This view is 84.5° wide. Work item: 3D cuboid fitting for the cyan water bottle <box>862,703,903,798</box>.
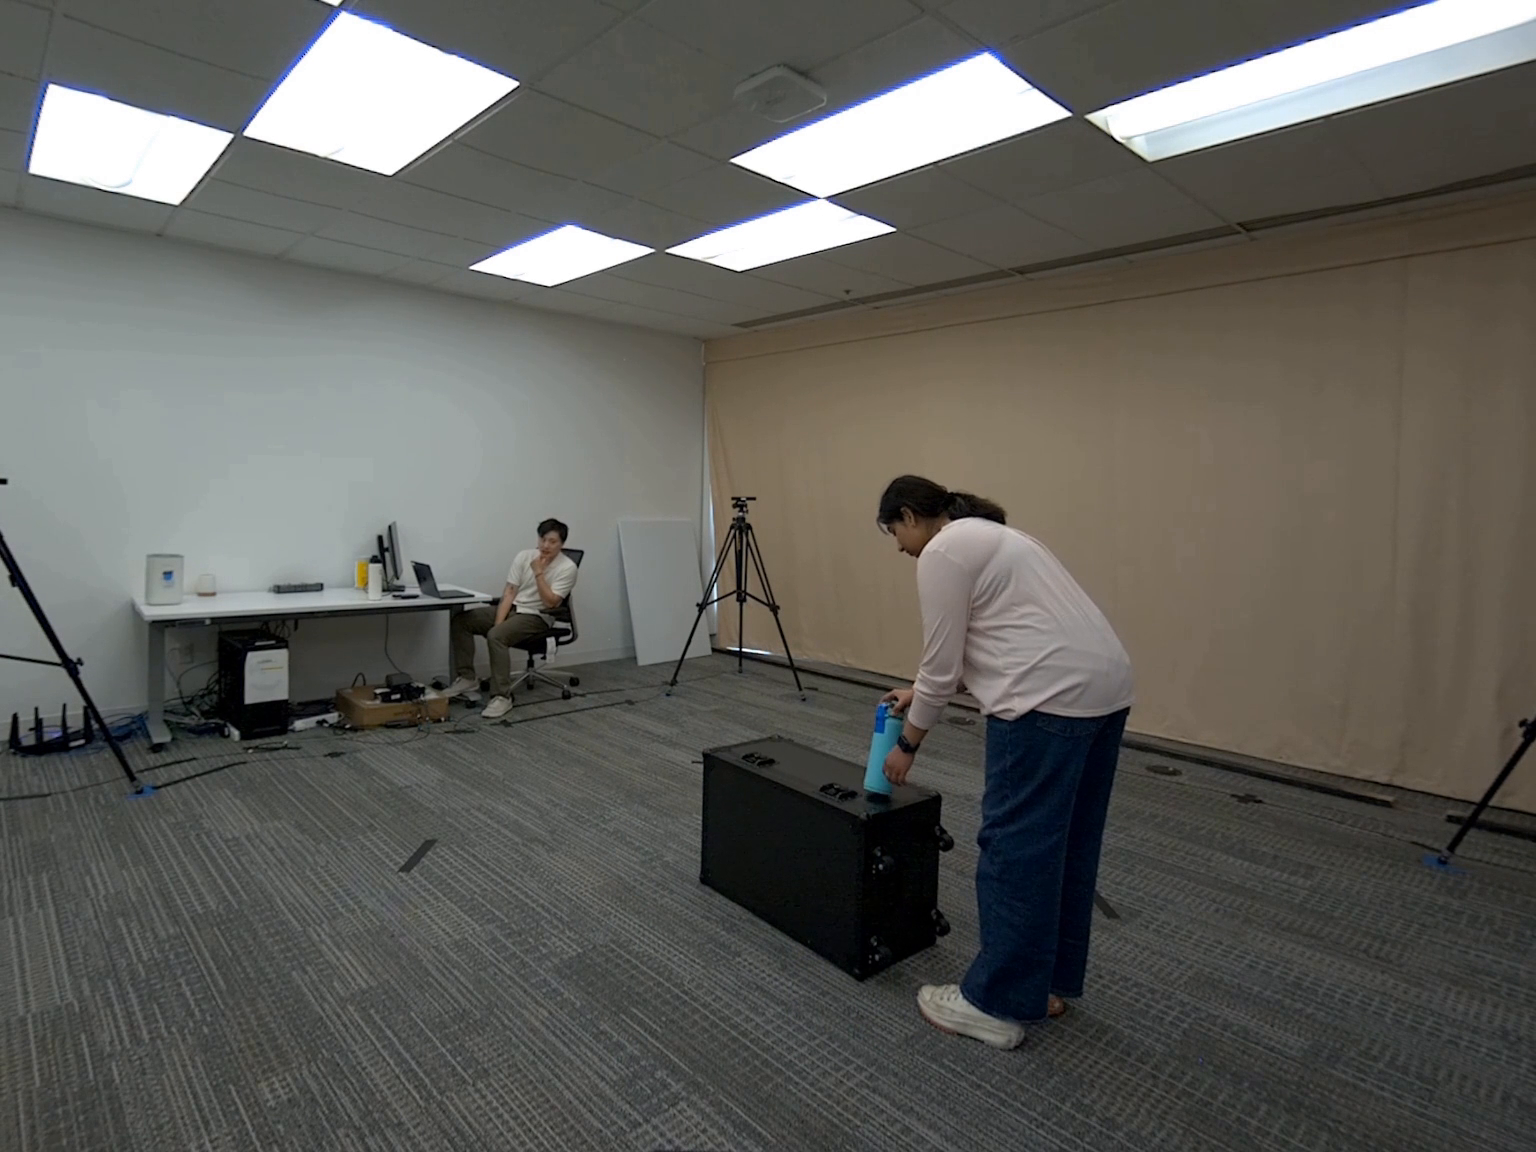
[{"bbox_3d":[0.370,0.540,2.609,0.092,0.284,0.092,10,-5,-1],"label":"cyan water bottle"}]
